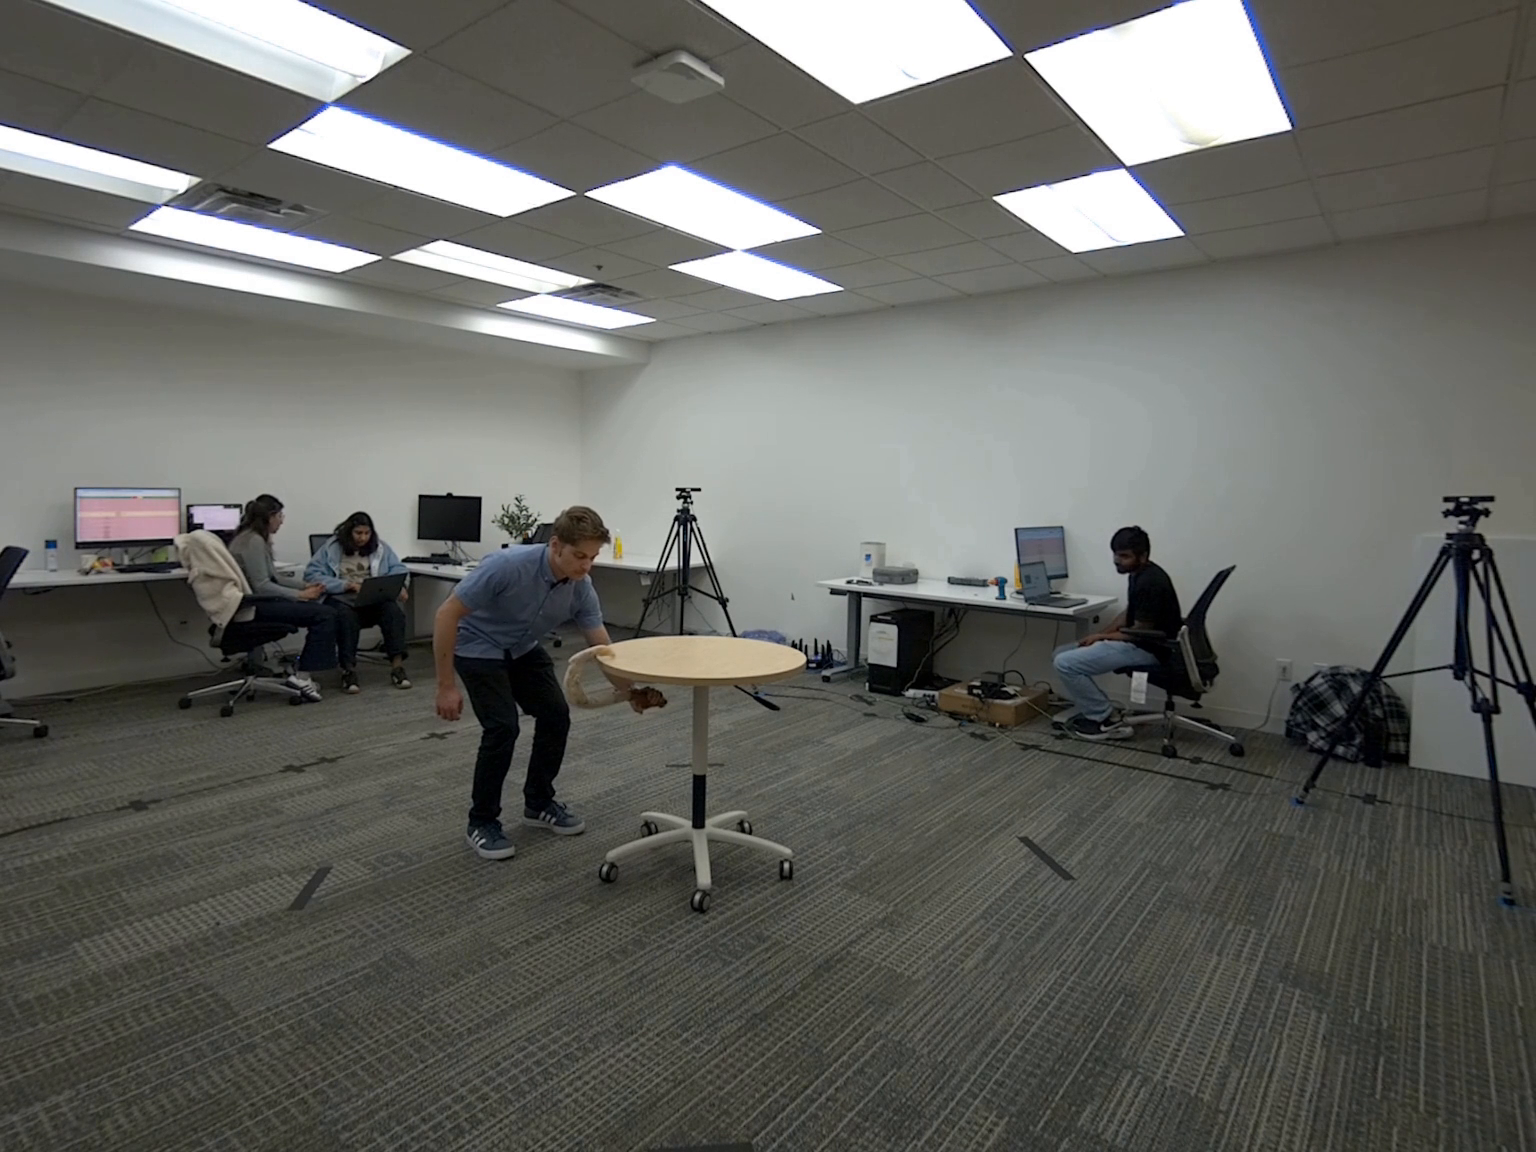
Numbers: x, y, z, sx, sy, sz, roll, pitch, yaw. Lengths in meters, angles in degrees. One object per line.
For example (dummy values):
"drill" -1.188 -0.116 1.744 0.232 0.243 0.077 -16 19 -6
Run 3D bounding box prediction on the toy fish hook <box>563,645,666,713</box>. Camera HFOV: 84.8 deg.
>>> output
"toy fish hook" -0.546 0.374 3.061 0.050 0.225 0.487 17 -1 41
